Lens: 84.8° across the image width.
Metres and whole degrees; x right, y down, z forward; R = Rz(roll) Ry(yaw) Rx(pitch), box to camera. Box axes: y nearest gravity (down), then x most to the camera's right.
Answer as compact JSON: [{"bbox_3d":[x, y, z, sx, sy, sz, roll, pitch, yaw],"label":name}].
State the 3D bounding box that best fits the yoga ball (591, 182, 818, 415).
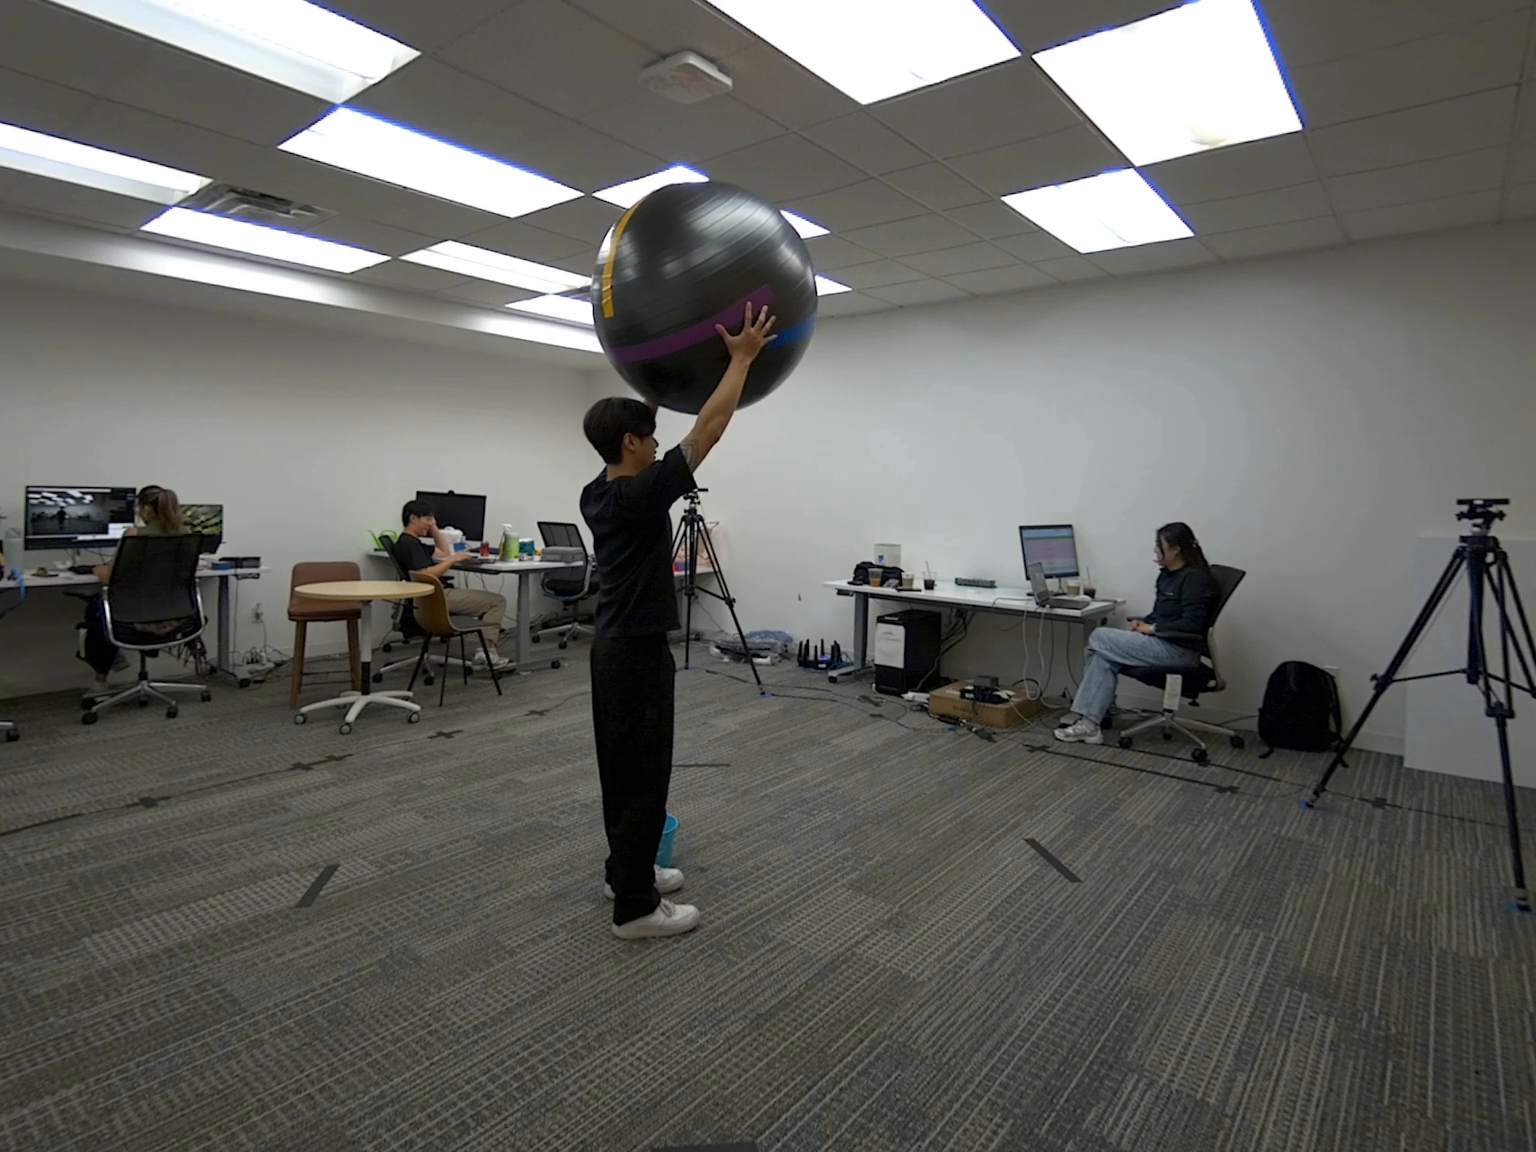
[{"bbox_3d":[-0.220,-0.921,2.852,0.757,0.755,0.762,1,4,-2],"label":"yoga ball"}]
